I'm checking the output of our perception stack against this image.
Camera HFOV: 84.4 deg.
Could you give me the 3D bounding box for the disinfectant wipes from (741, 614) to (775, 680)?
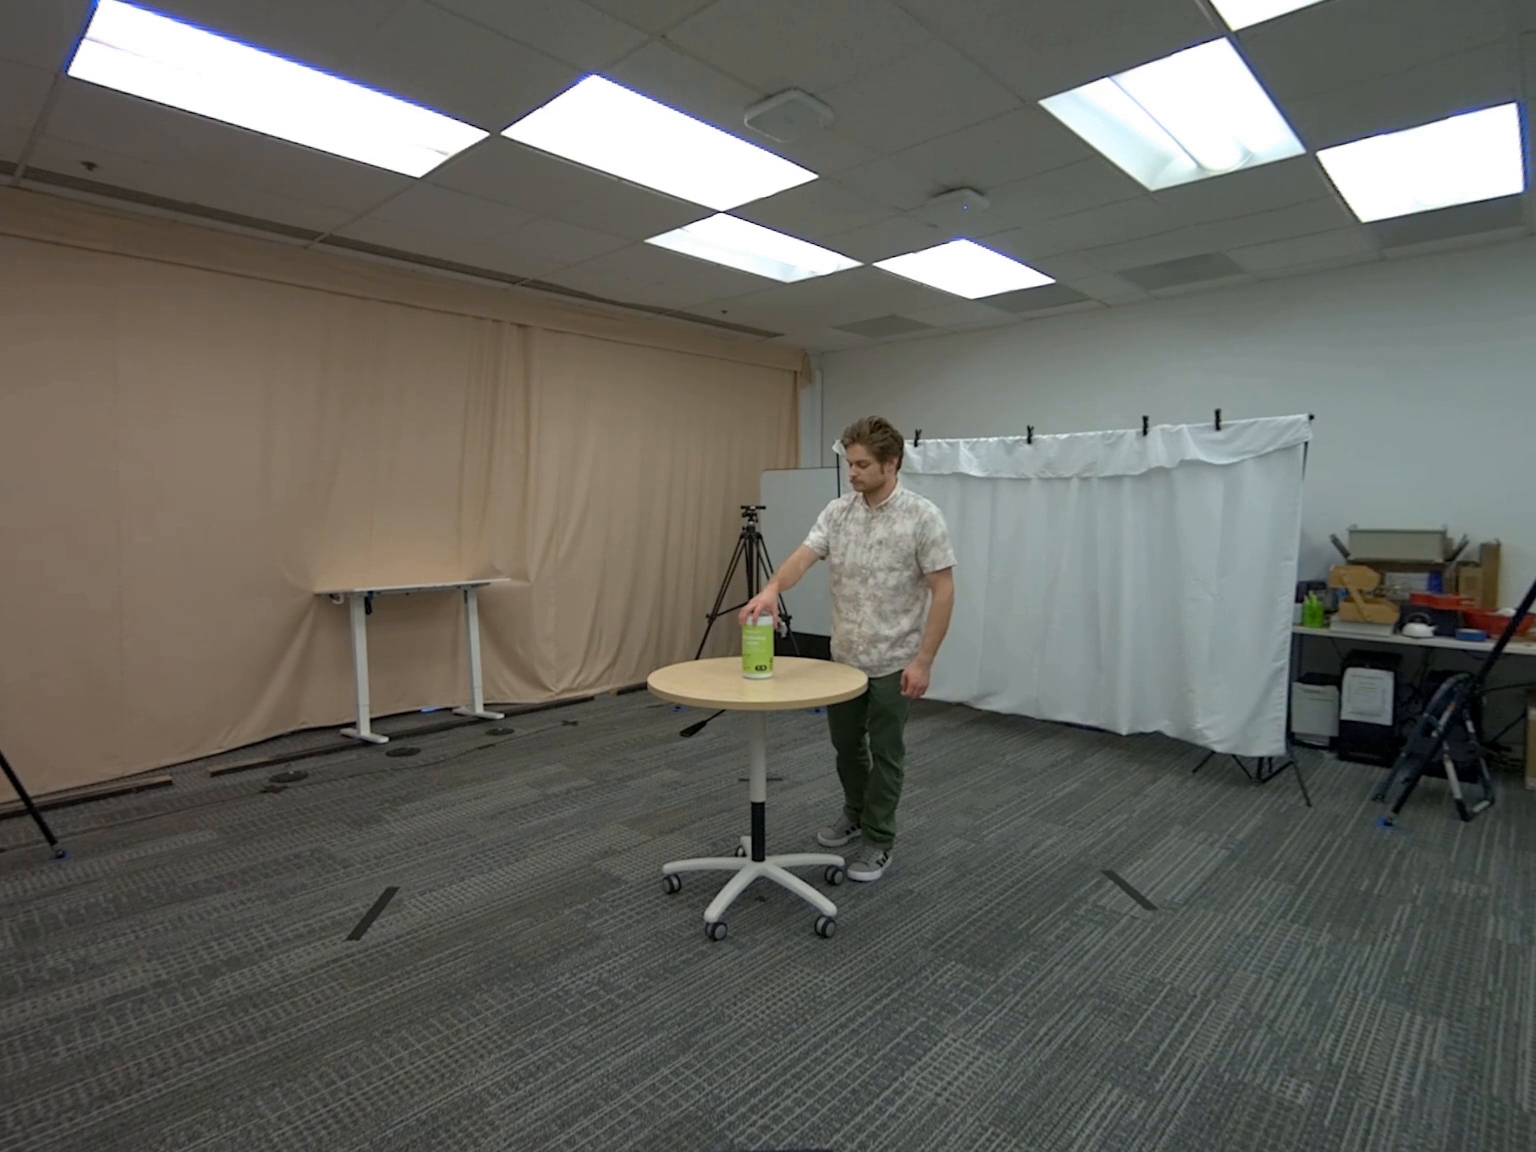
[{"bbox_3d":[-0.039,0.248,2.940,0.118,0.217,0.118,-1,3,-2],"label":"disinfectant wipes"}]
